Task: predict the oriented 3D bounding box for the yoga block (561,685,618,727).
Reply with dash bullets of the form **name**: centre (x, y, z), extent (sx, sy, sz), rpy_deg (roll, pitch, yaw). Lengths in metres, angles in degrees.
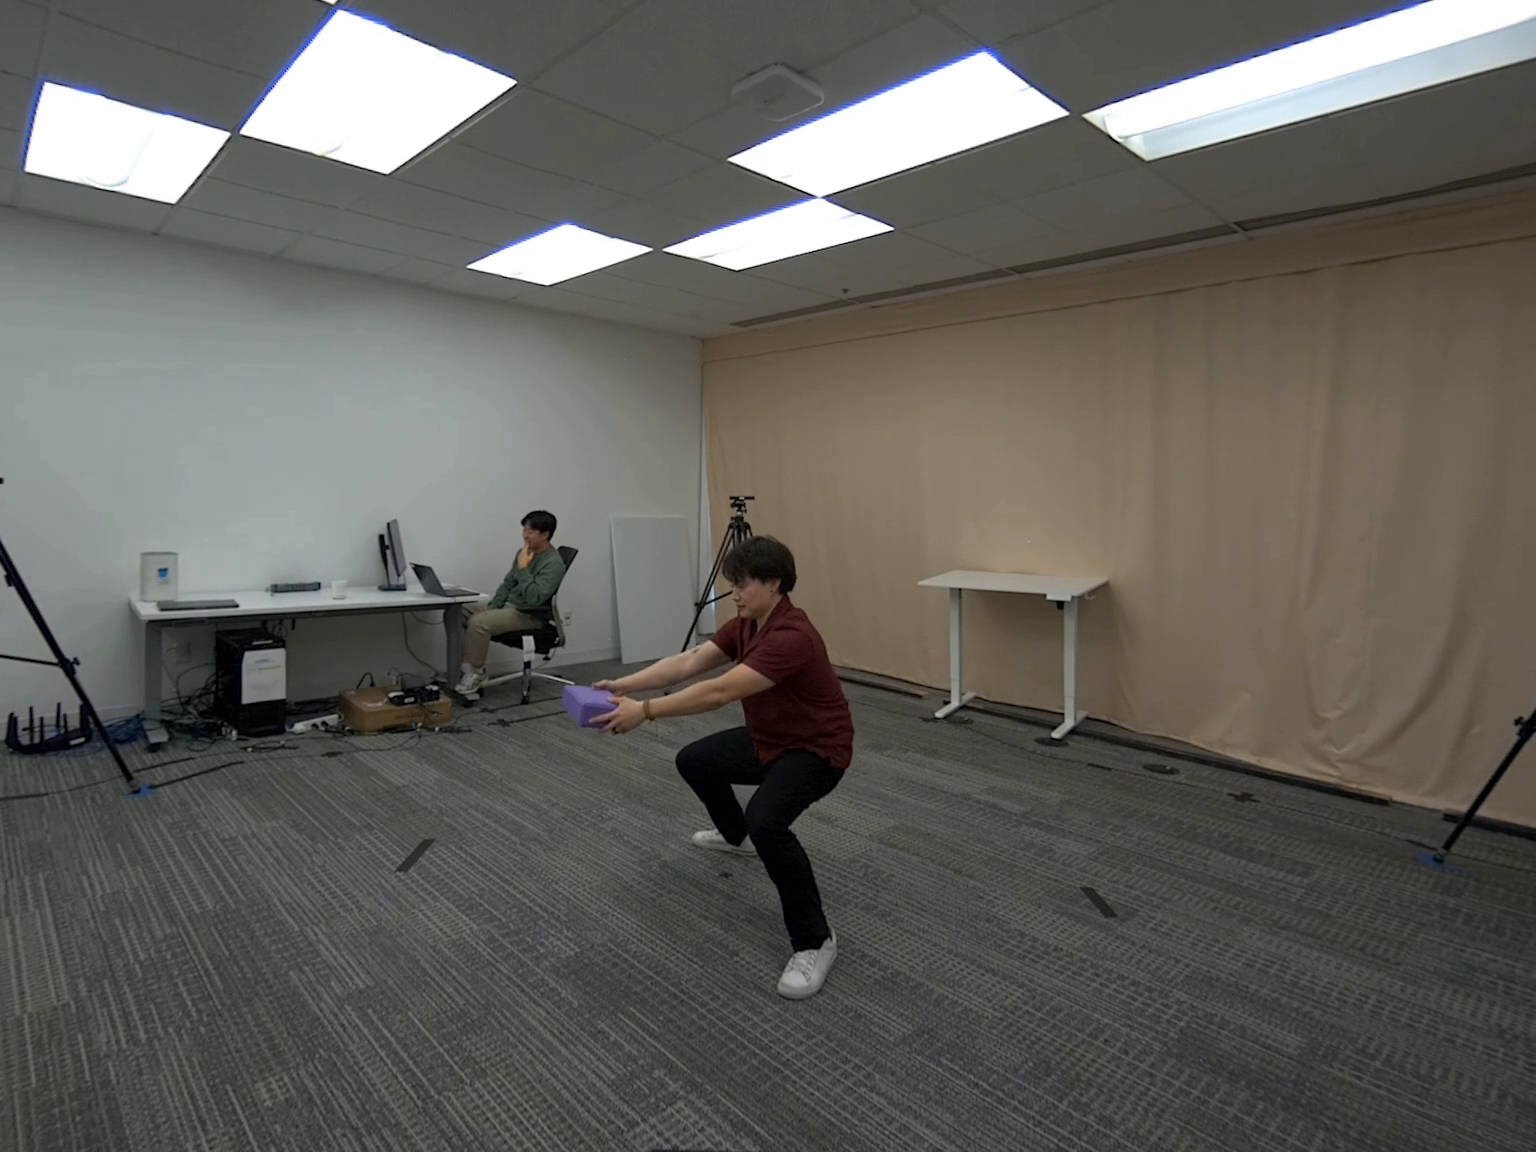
- **yoga block**: centre (-0.546, 0.399, 2.635), extent (0.146, 0.076, 0.234), rpy_deg (9, 2, -25)
